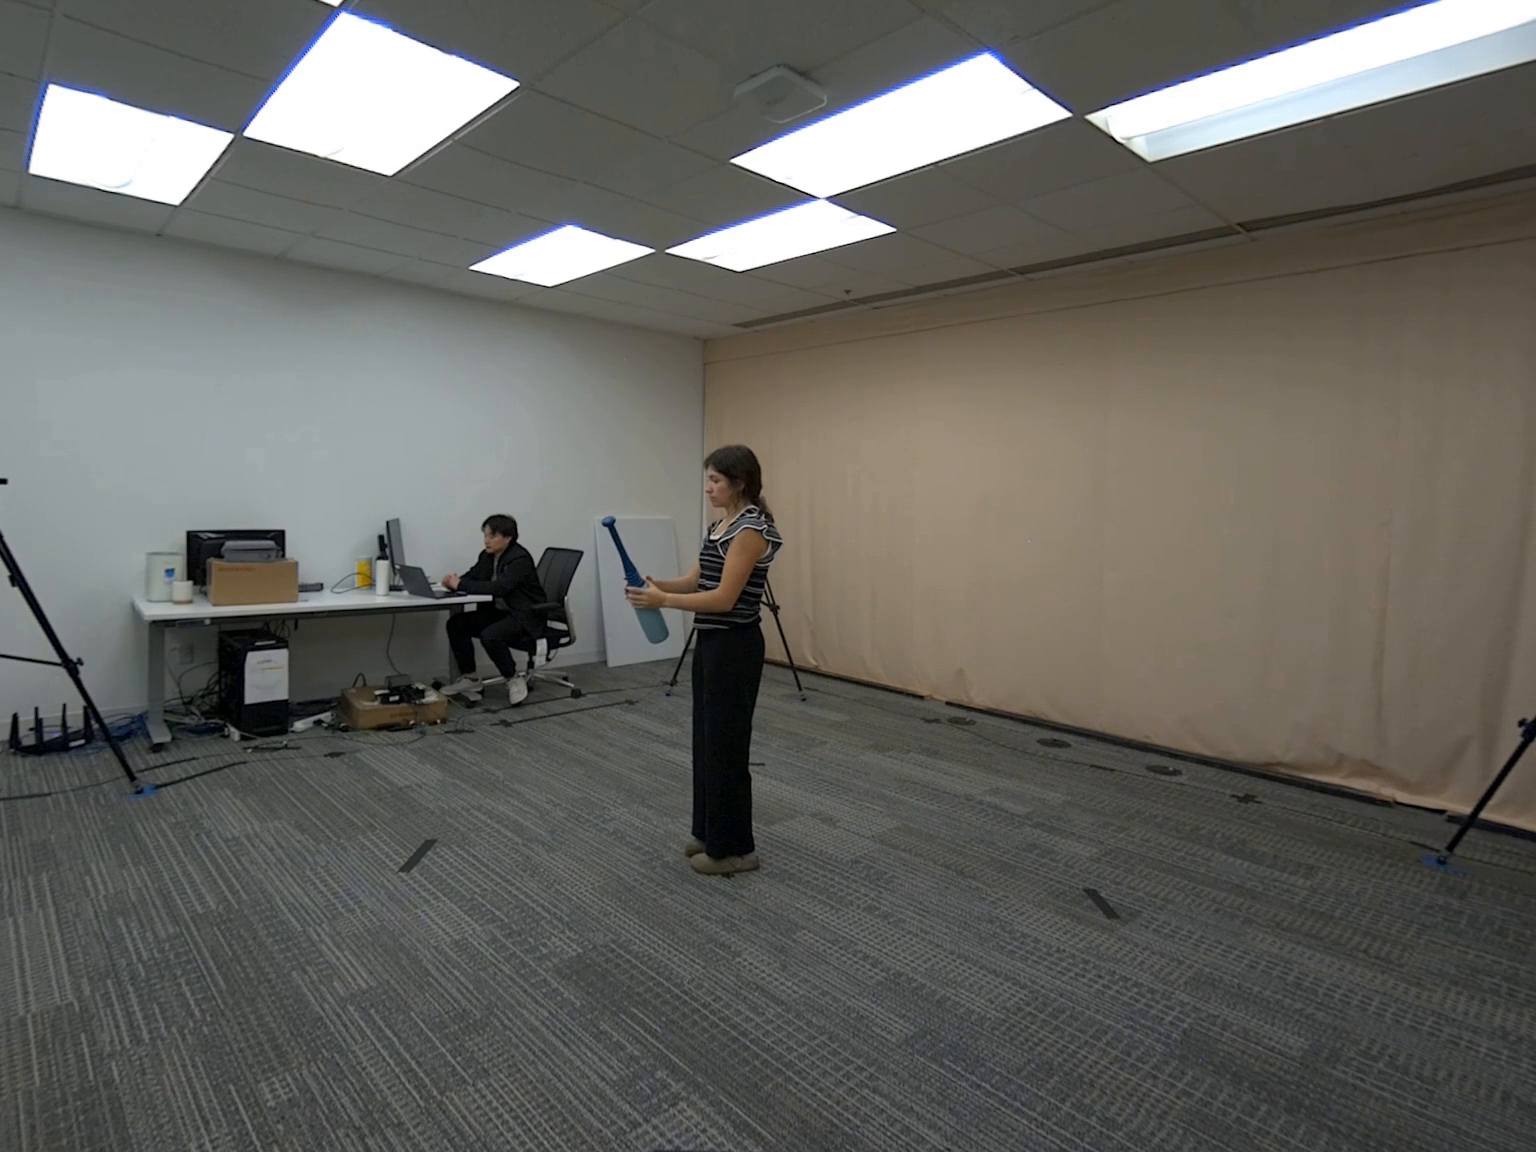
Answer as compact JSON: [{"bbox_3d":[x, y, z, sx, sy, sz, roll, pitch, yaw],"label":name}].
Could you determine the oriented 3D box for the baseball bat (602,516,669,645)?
[{"bbox_3d":[-0.491,0.015,3.072,0.089,0.530,0.091,-15,28,7],"label":"baseball bat"}]
